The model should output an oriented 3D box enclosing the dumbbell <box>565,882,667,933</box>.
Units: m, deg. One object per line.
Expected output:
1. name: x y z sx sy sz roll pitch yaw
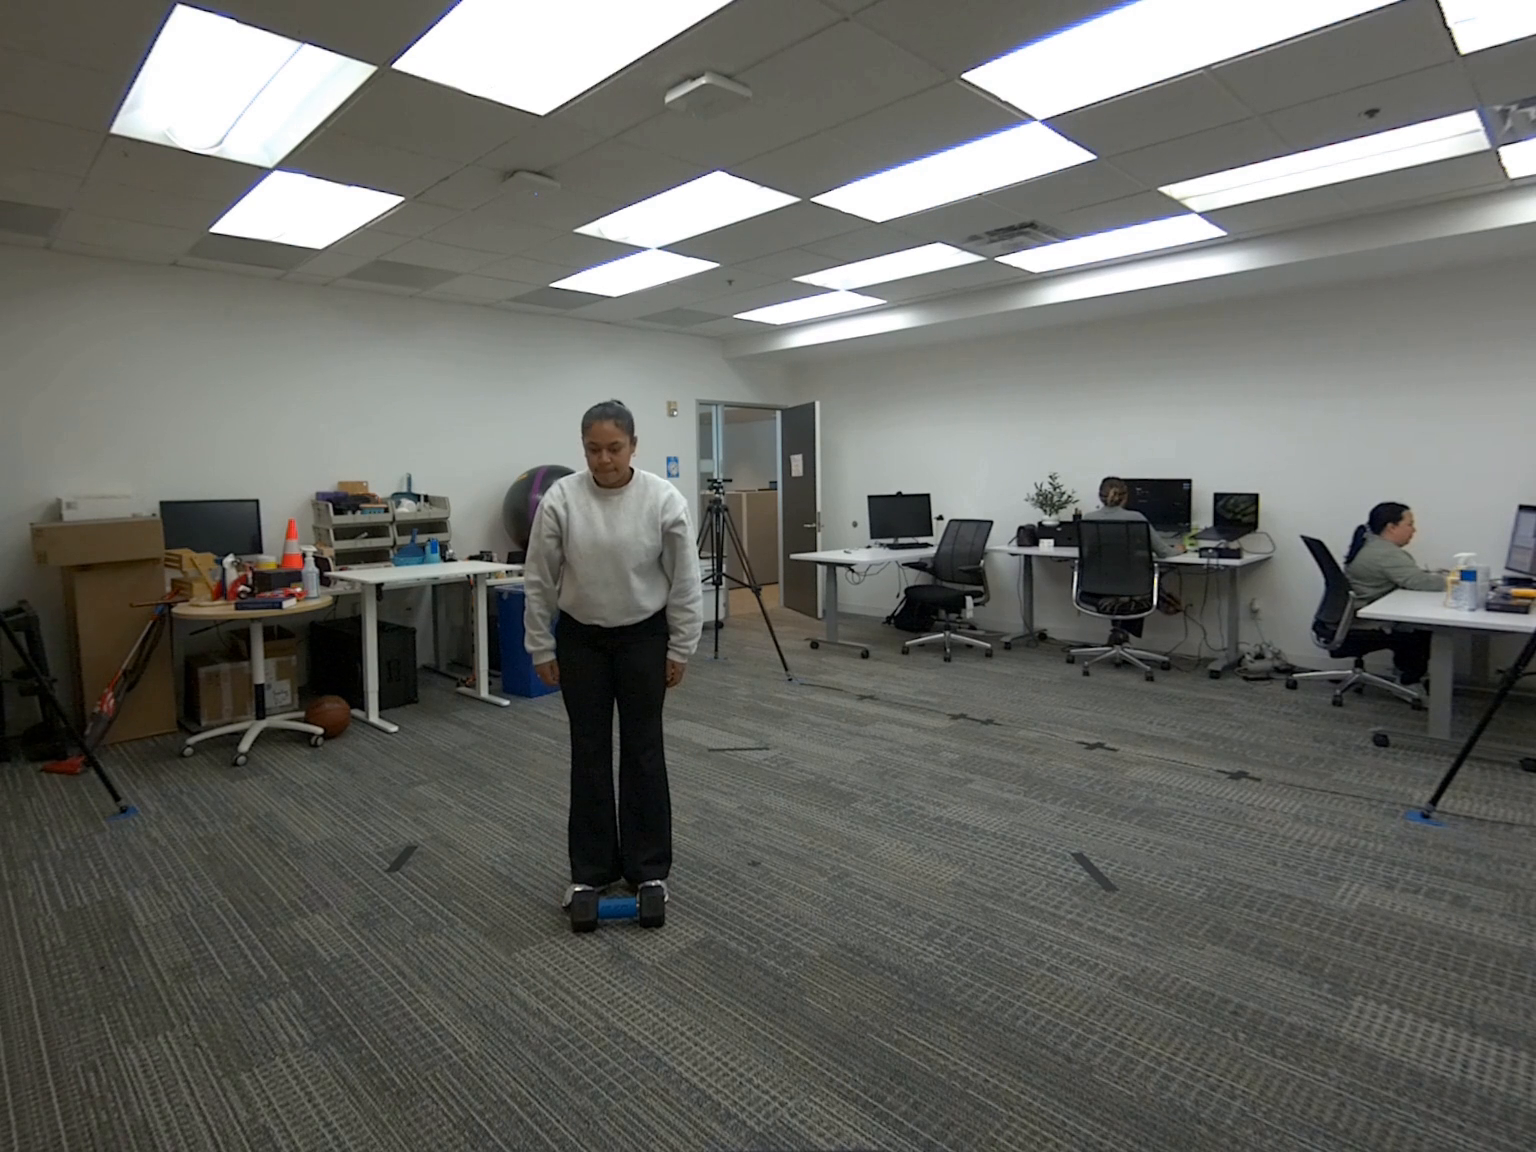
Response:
1. dumbbell: -0.472 1.056 2.695 0.292 0.126 0.106 -2 -27 -5
